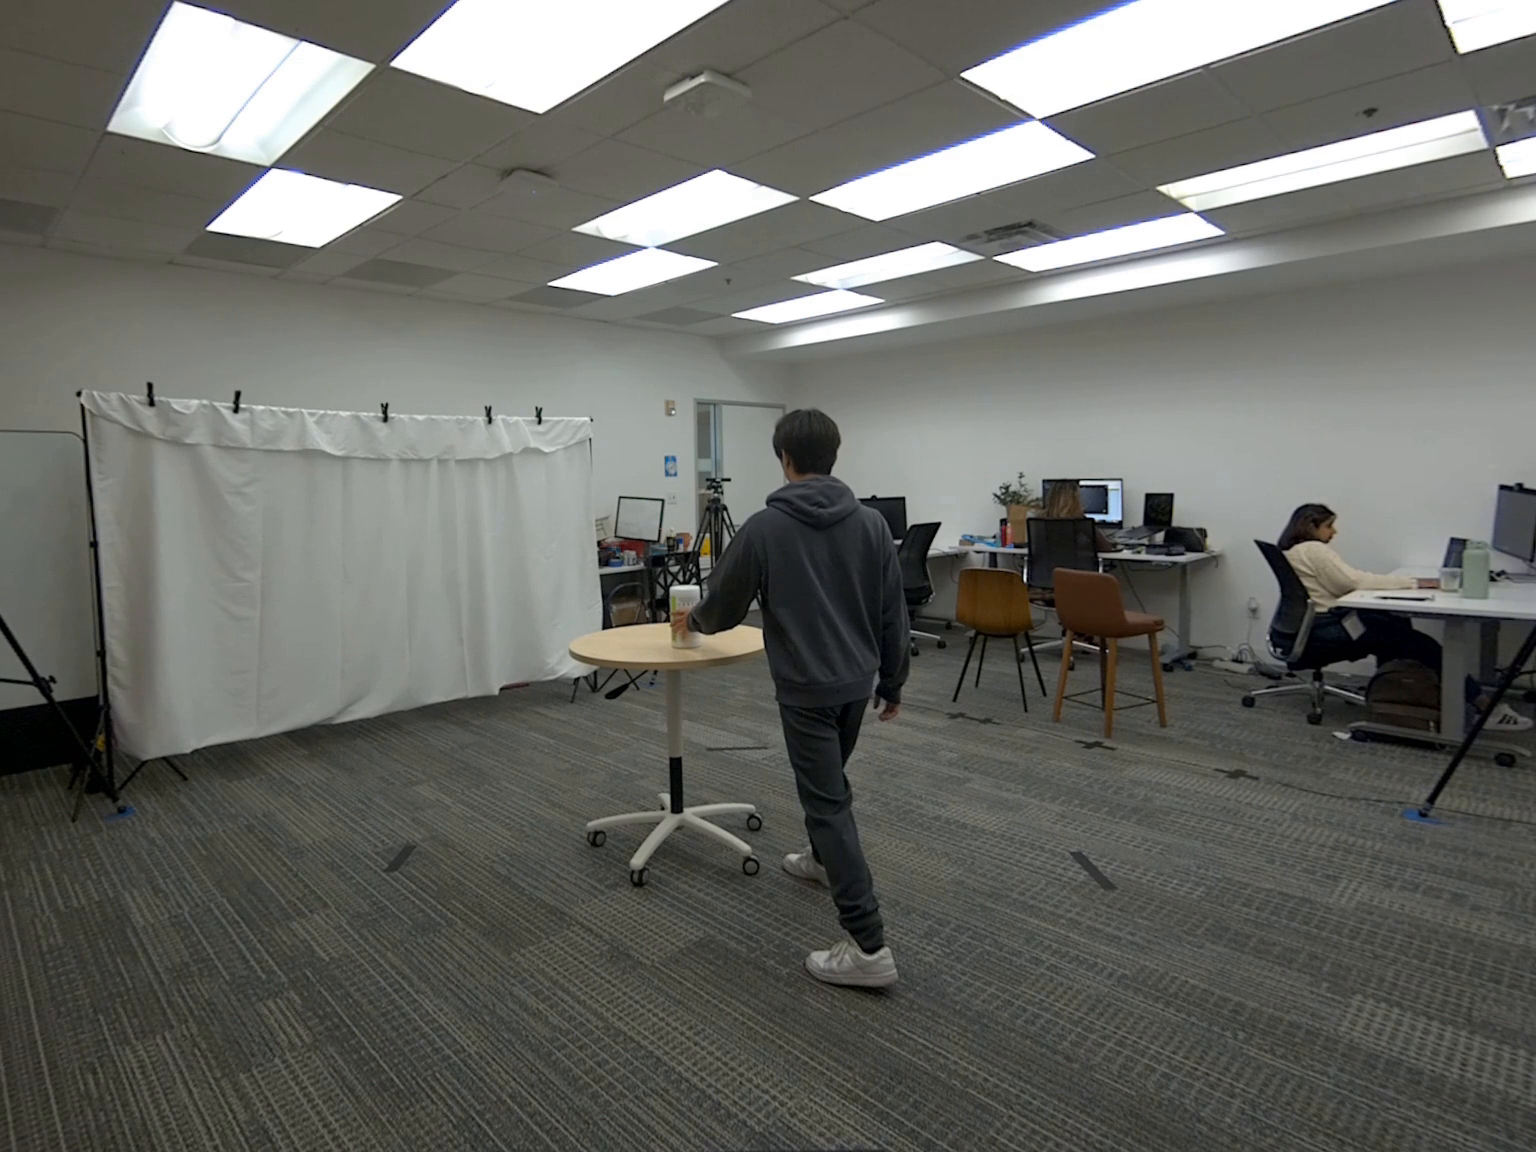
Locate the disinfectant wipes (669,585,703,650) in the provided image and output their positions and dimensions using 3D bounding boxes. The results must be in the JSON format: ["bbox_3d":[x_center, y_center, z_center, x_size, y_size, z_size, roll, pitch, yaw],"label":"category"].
[{"bbox_3d":[-0.291,0.147,3.071,0.118,0.217,0.118,-2,3,-2],"label":"disinfectant wipes"}]
